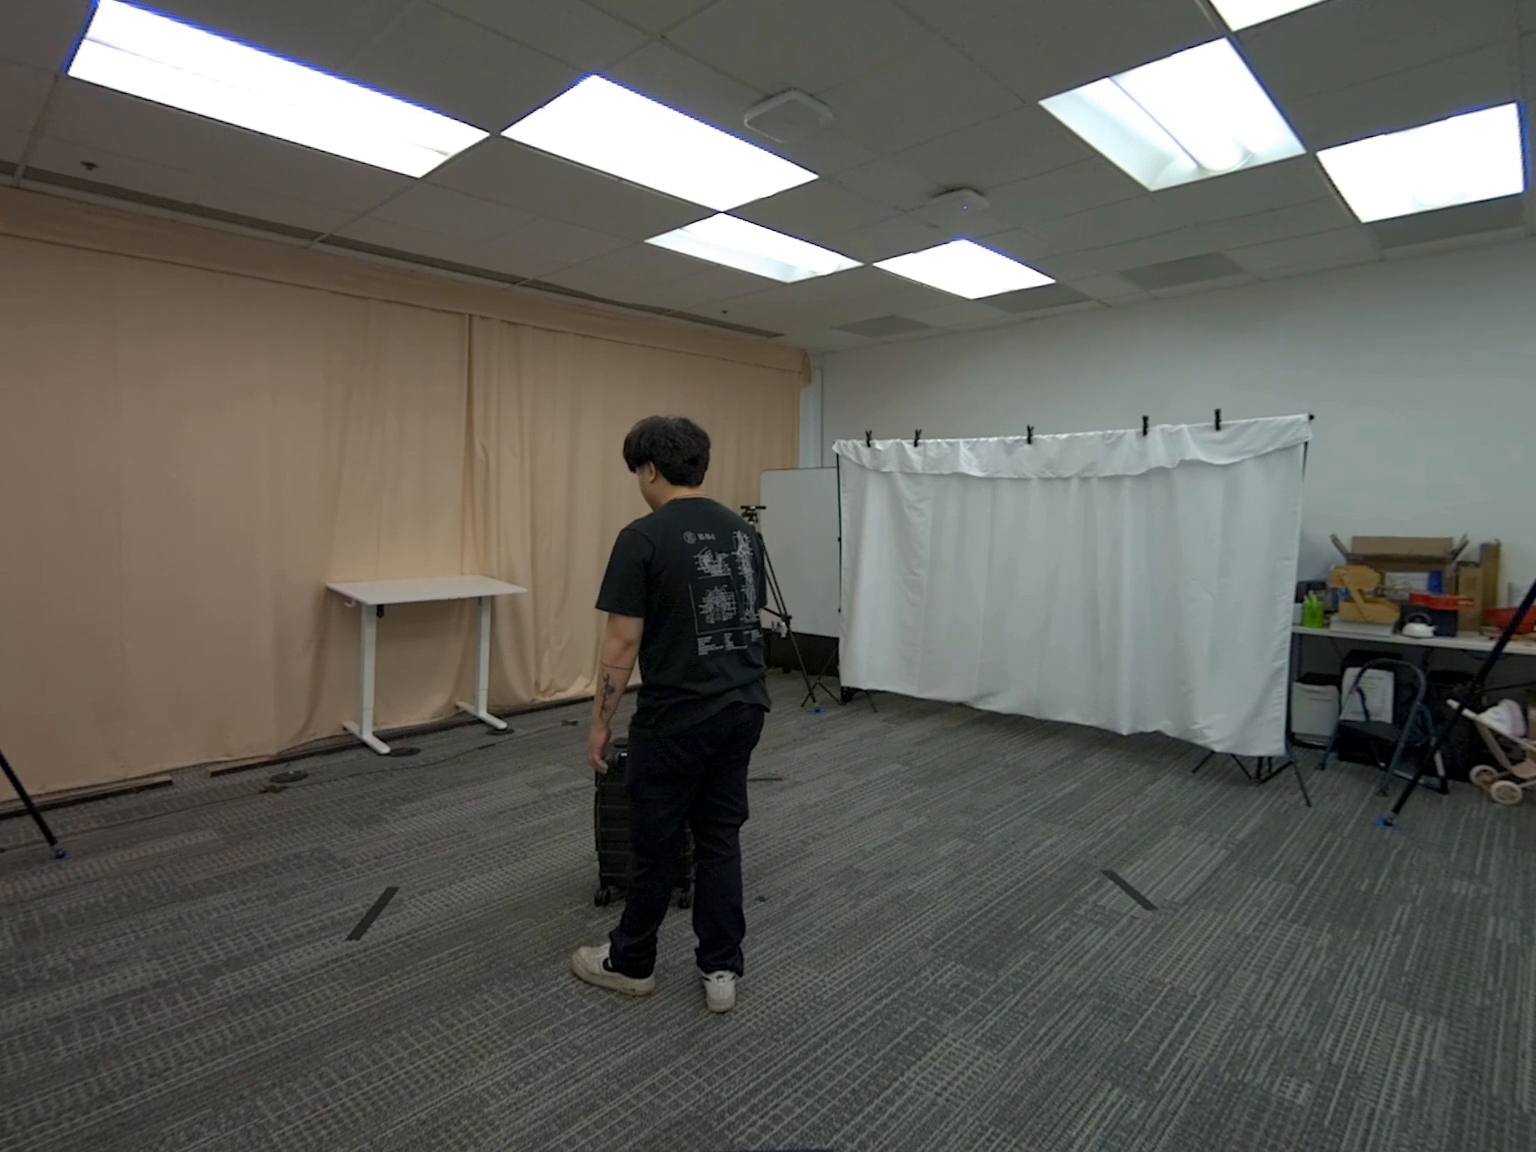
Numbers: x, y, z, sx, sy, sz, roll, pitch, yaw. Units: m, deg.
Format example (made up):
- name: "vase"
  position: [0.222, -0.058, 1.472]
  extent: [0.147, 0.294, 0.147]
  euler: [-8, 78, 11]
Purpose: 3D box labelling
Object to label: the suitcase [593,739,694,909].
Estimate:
- name: "suitcase"
  position: [-0.437, 0.867, 3.038]
  extent: [0.377, 0.549, 0.247]
  euler: [0, 1, 4]
